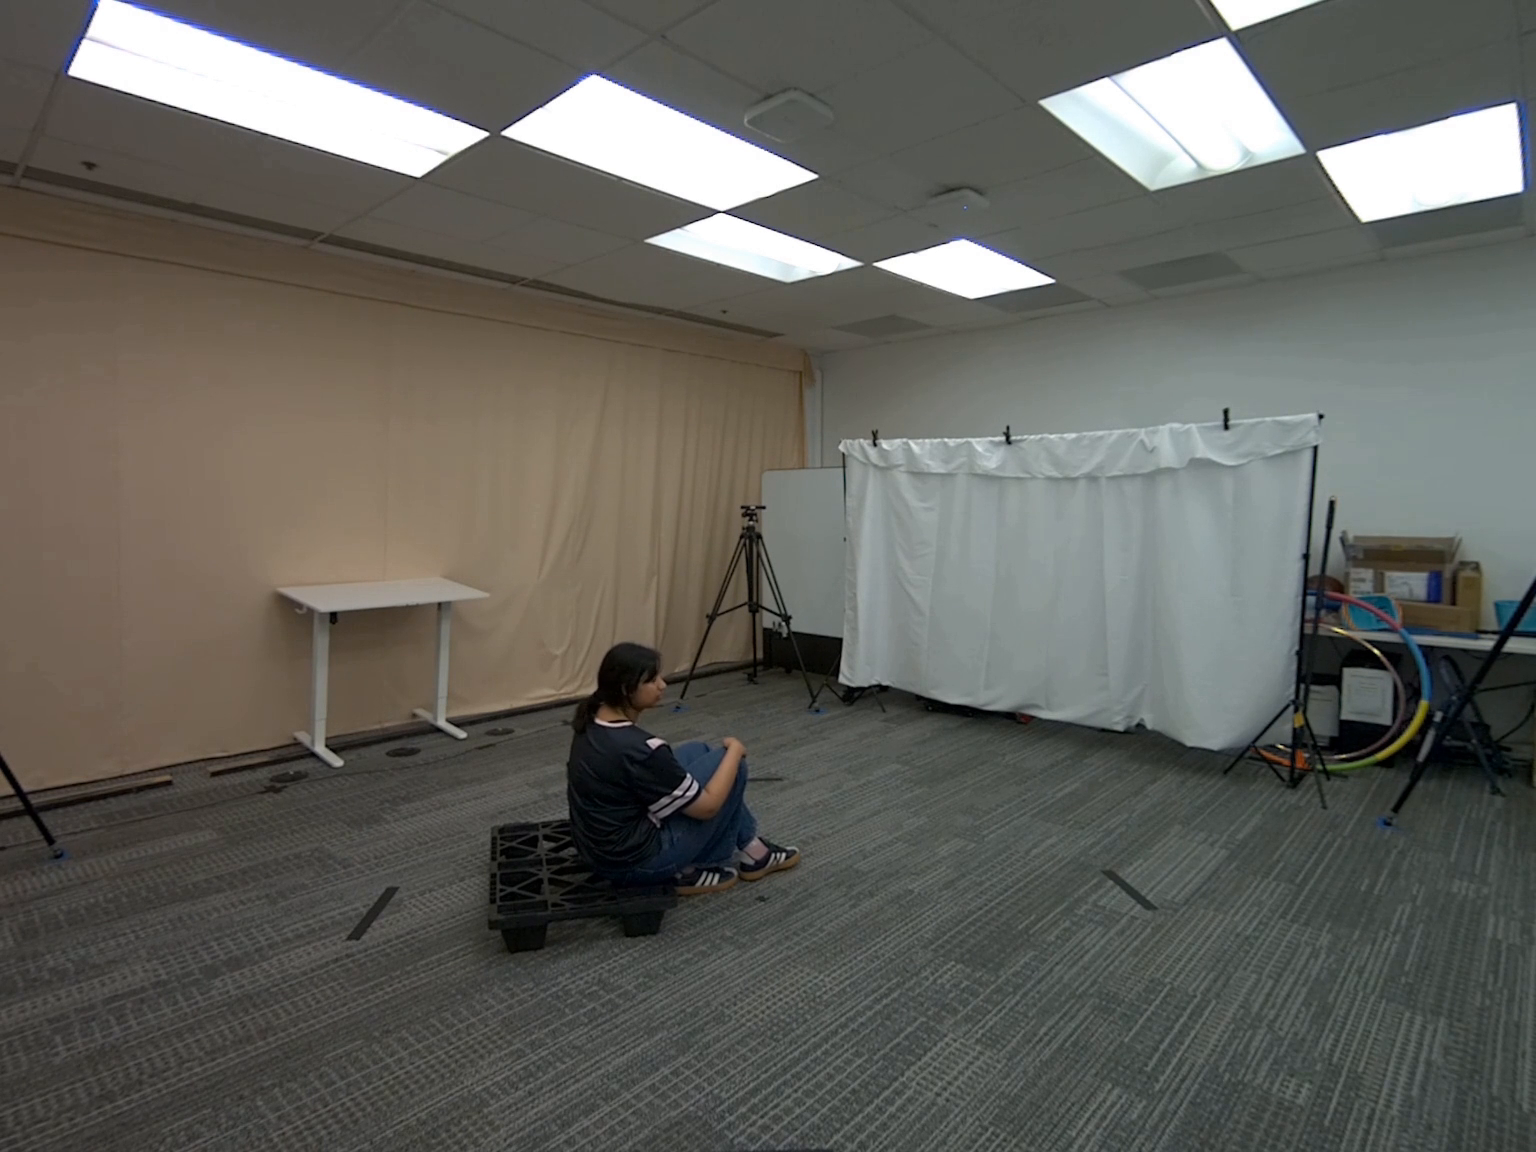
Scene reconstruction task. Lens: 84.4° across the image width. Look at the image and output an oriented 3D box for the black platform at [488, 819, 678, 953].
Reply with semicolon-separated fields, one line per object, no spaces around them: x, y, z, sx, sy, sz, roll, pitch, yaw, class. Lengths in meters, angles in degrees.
-0.696;1.077;3.038;0.596;0.143;0.820;-2;6;-15;black platform
